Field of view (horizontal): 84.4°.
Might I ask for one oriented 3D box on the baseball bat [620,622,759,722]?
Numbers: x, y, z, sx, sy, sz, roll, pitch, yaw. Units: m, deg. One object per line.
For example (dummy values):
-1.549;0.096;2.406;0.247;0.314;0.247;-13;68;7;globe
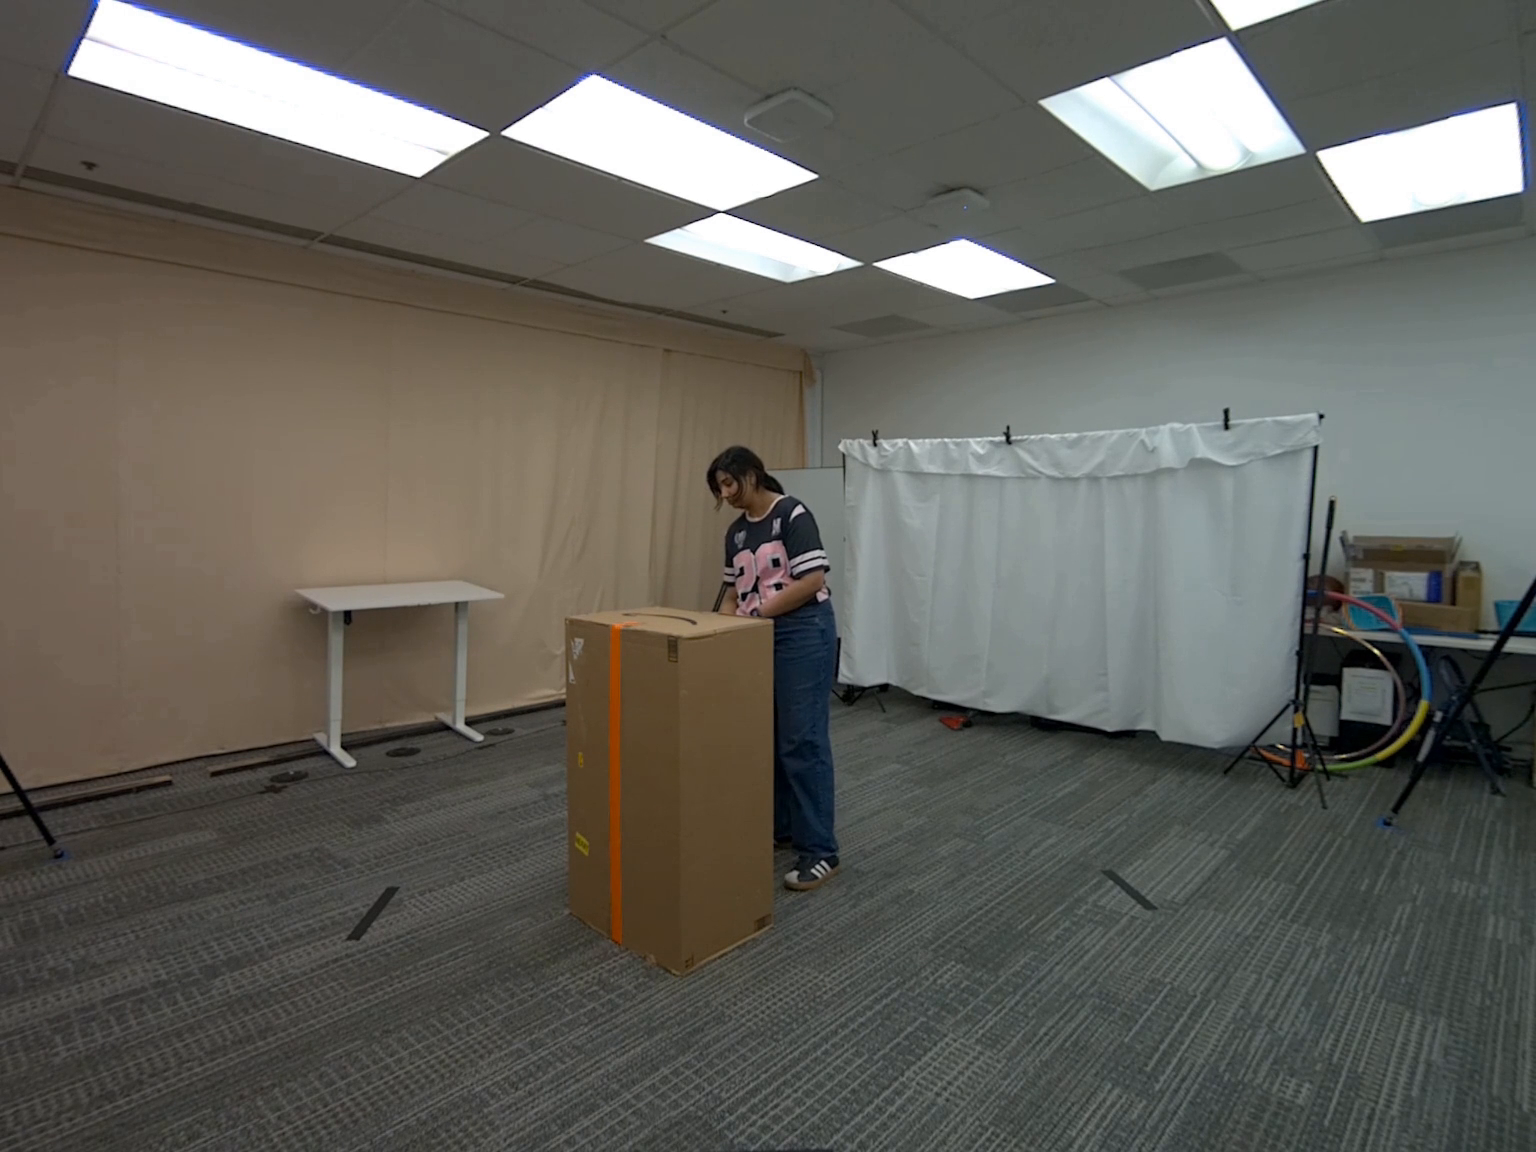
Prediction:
-0.299;0.357;3.217;0.539;0.088;0.090;-31;11;-10;baseball bat
